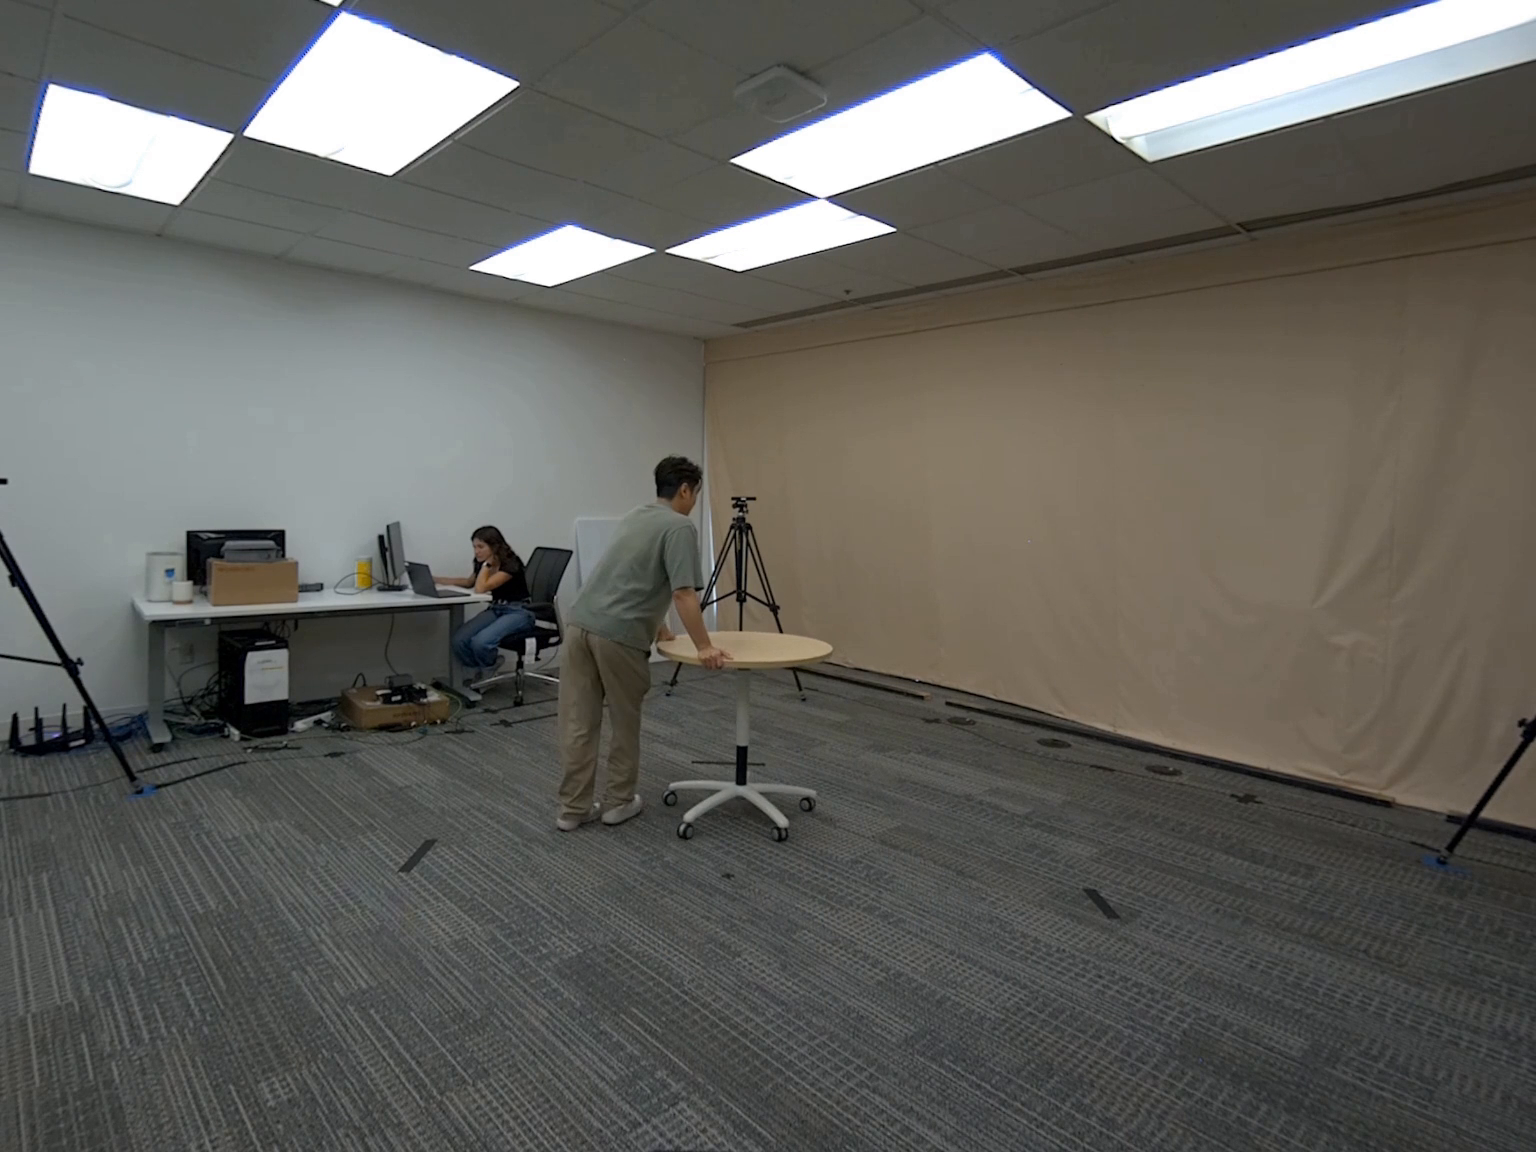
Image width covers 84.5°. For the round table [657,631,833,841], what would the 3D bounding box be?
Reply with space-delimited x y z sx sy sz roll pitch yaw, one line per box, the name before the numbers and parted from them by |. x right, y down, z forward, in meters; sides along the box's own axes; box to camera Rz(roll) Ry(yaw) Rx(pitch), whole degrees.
round table | -0.122 0.679 3.673 0.784 0.785 0.787 1 3 -1
